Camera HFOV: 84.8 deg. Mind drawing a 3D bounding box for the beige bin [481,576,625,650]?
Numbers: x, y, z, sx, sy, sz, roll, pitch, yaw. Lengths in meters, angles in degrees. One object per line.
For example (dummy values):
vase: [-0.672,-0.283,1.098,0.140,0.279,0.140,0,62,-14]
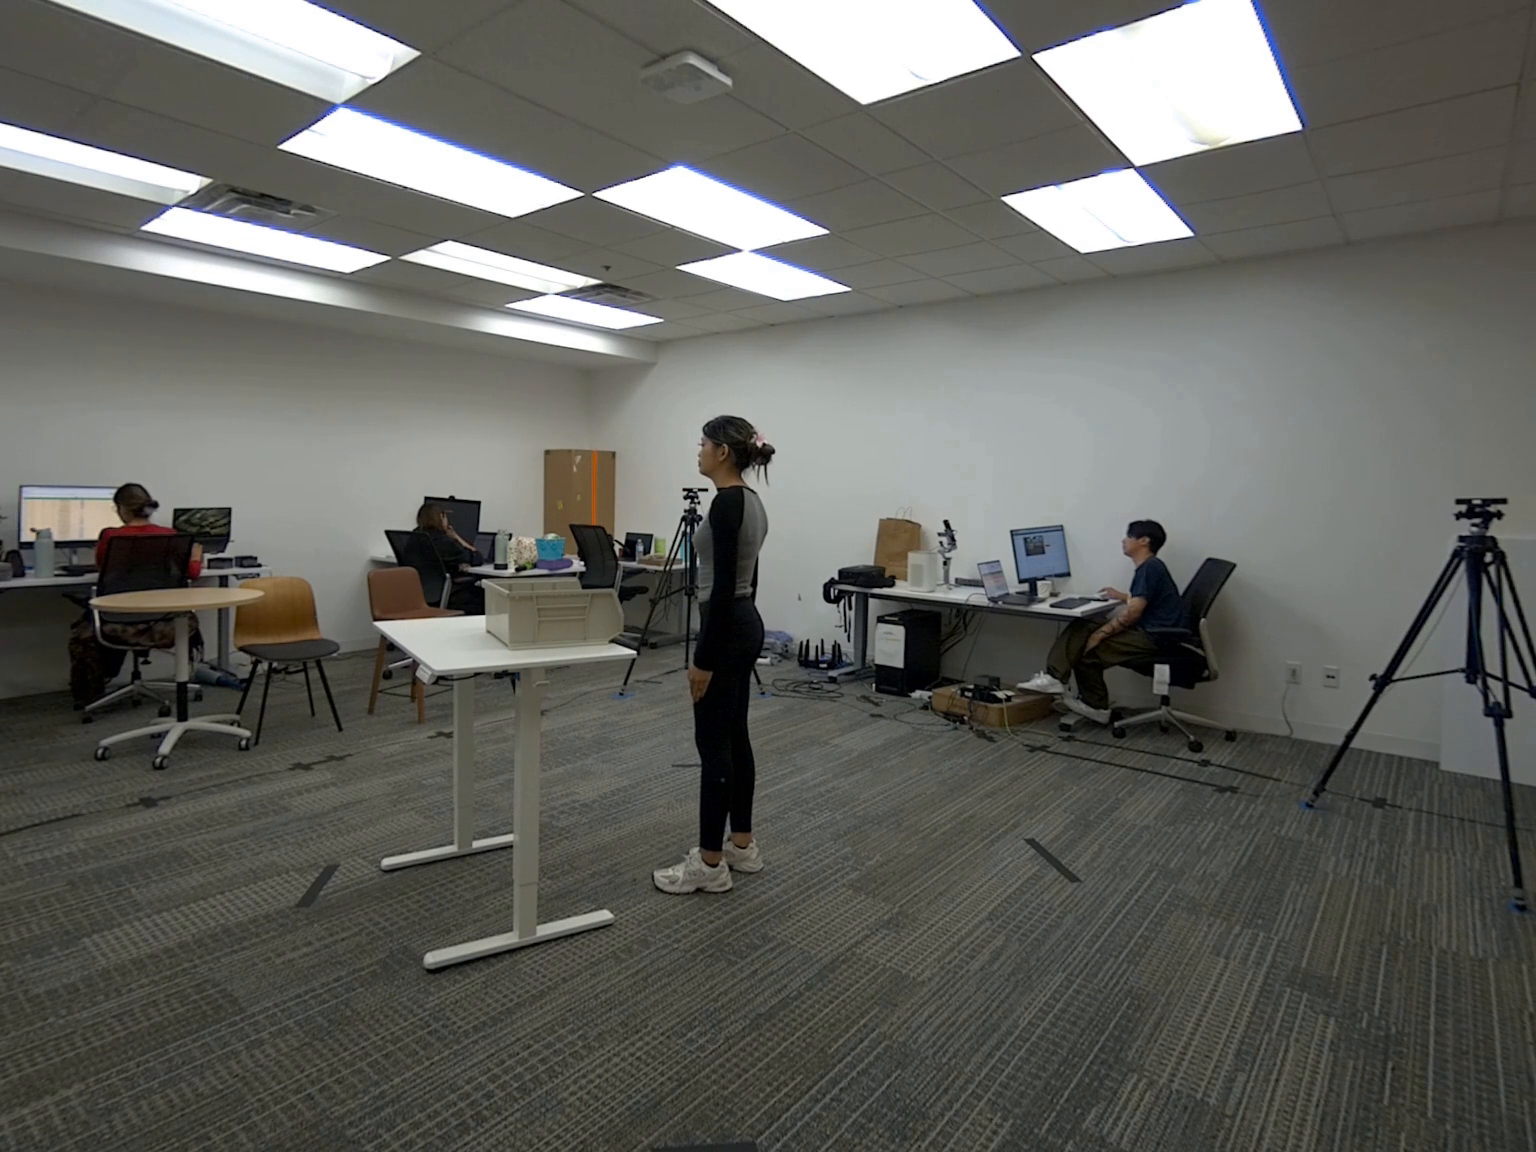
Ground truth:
beige bin: [-0.741,0.114,2.841,0.368,0.188,0.435,-3,7,-29]
